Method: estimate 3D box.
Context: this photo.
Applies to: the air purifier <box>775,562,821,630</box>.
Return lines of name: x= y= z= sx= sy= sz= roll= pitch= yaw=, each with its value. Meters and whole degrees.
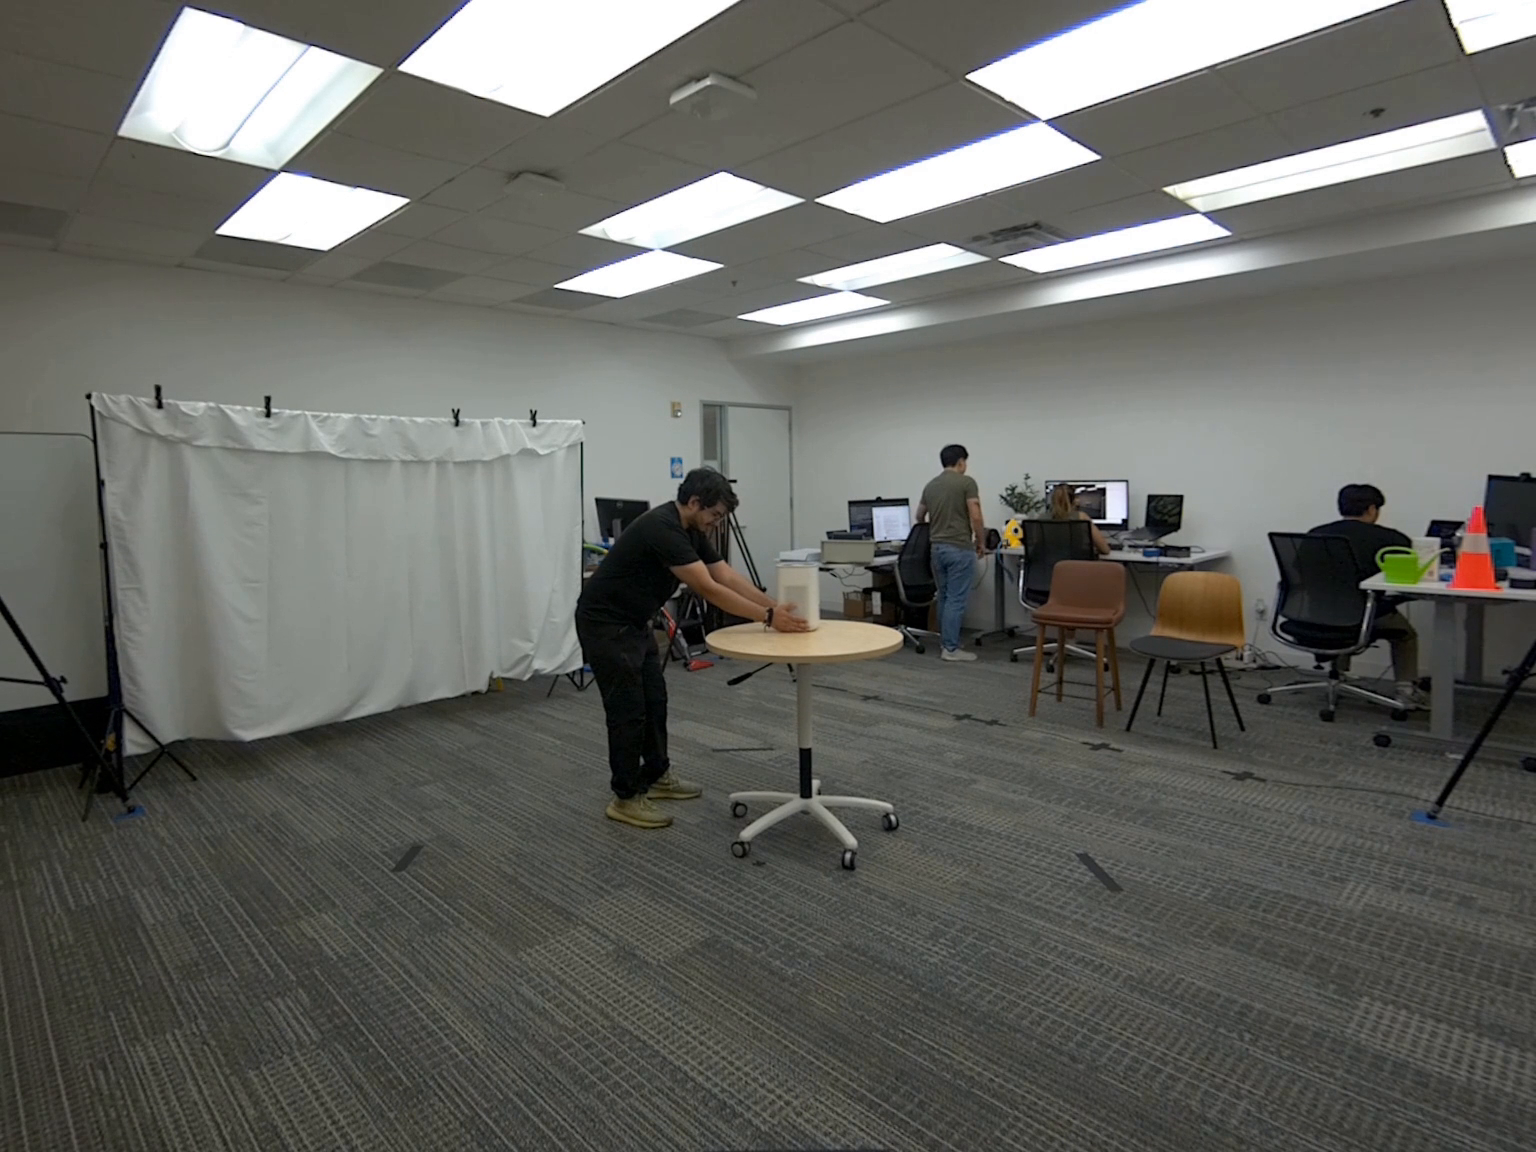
air purifier: x=0.118 y=0.081 z=3.487 sx=0.173 sy=0.264 sz=0.170 roll=0 pitch=6 yaw=10
